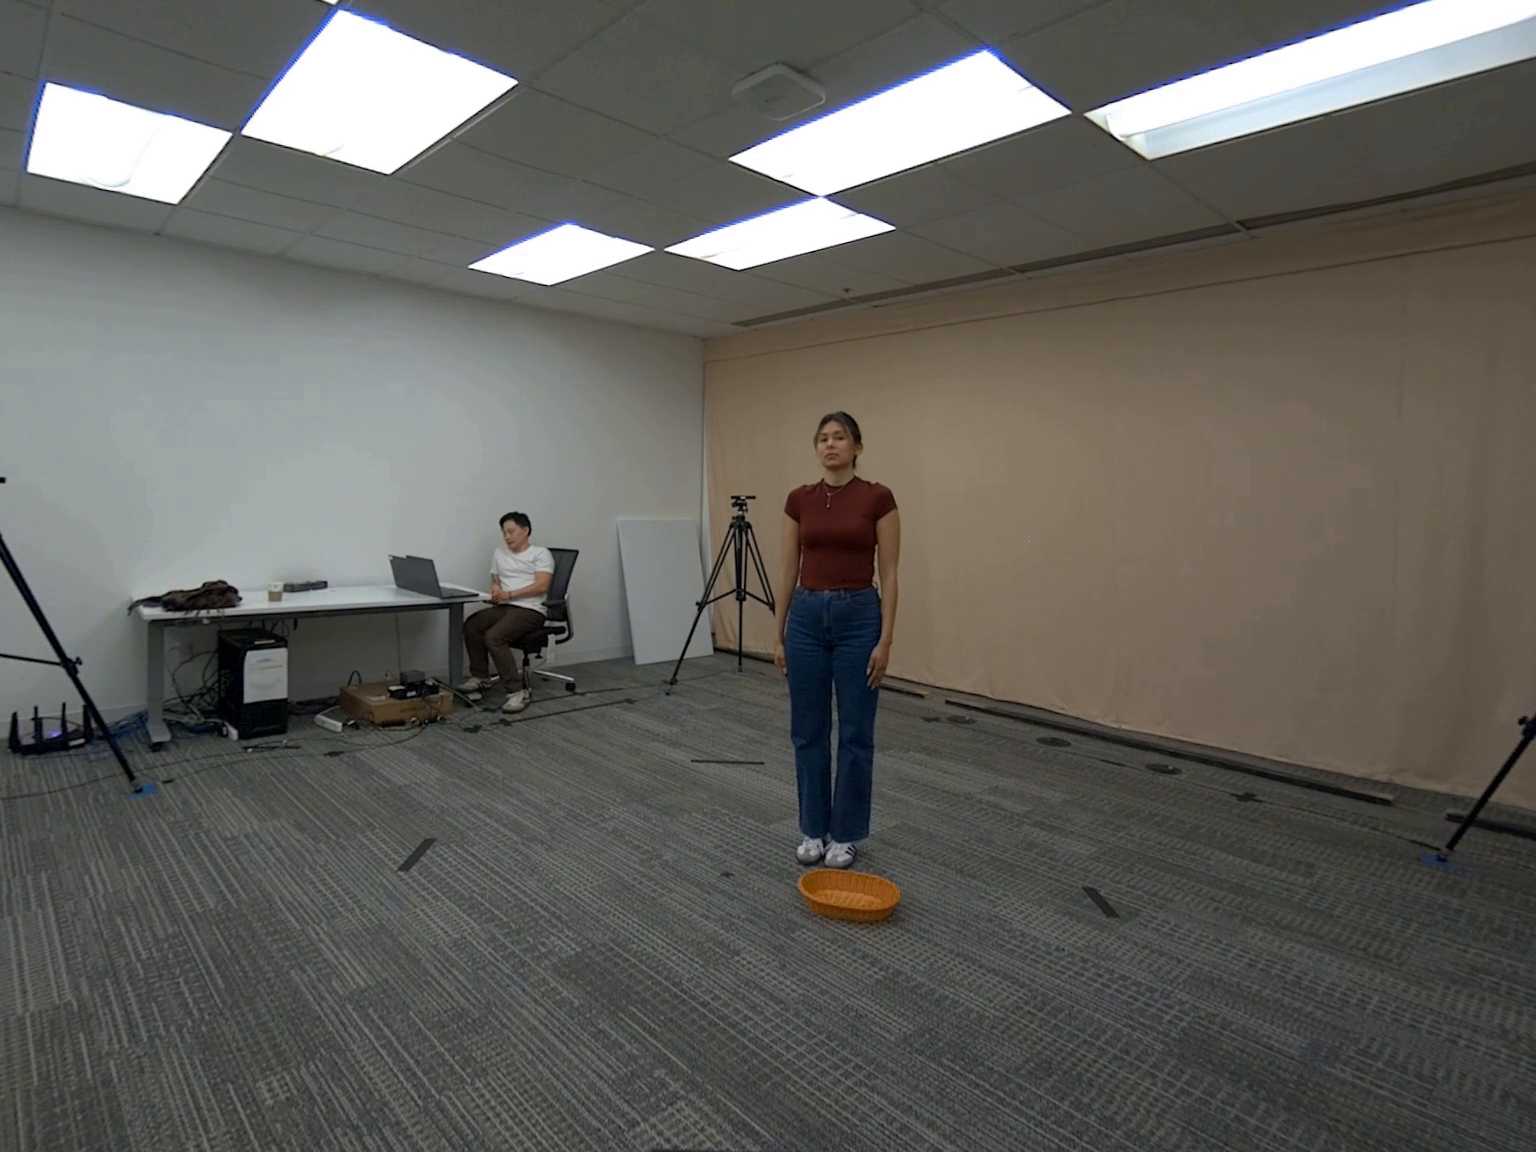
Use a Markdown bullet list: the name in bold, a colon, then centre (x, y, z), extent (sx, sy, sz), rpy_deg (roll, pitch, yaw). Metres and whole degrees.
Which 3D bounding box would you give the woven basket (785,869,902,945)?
- **woven basket**: centre (0.258, 1.109, 2.862), extent (0.355, 0.073, 0.250), rpy_deg (3, 8, 17)
